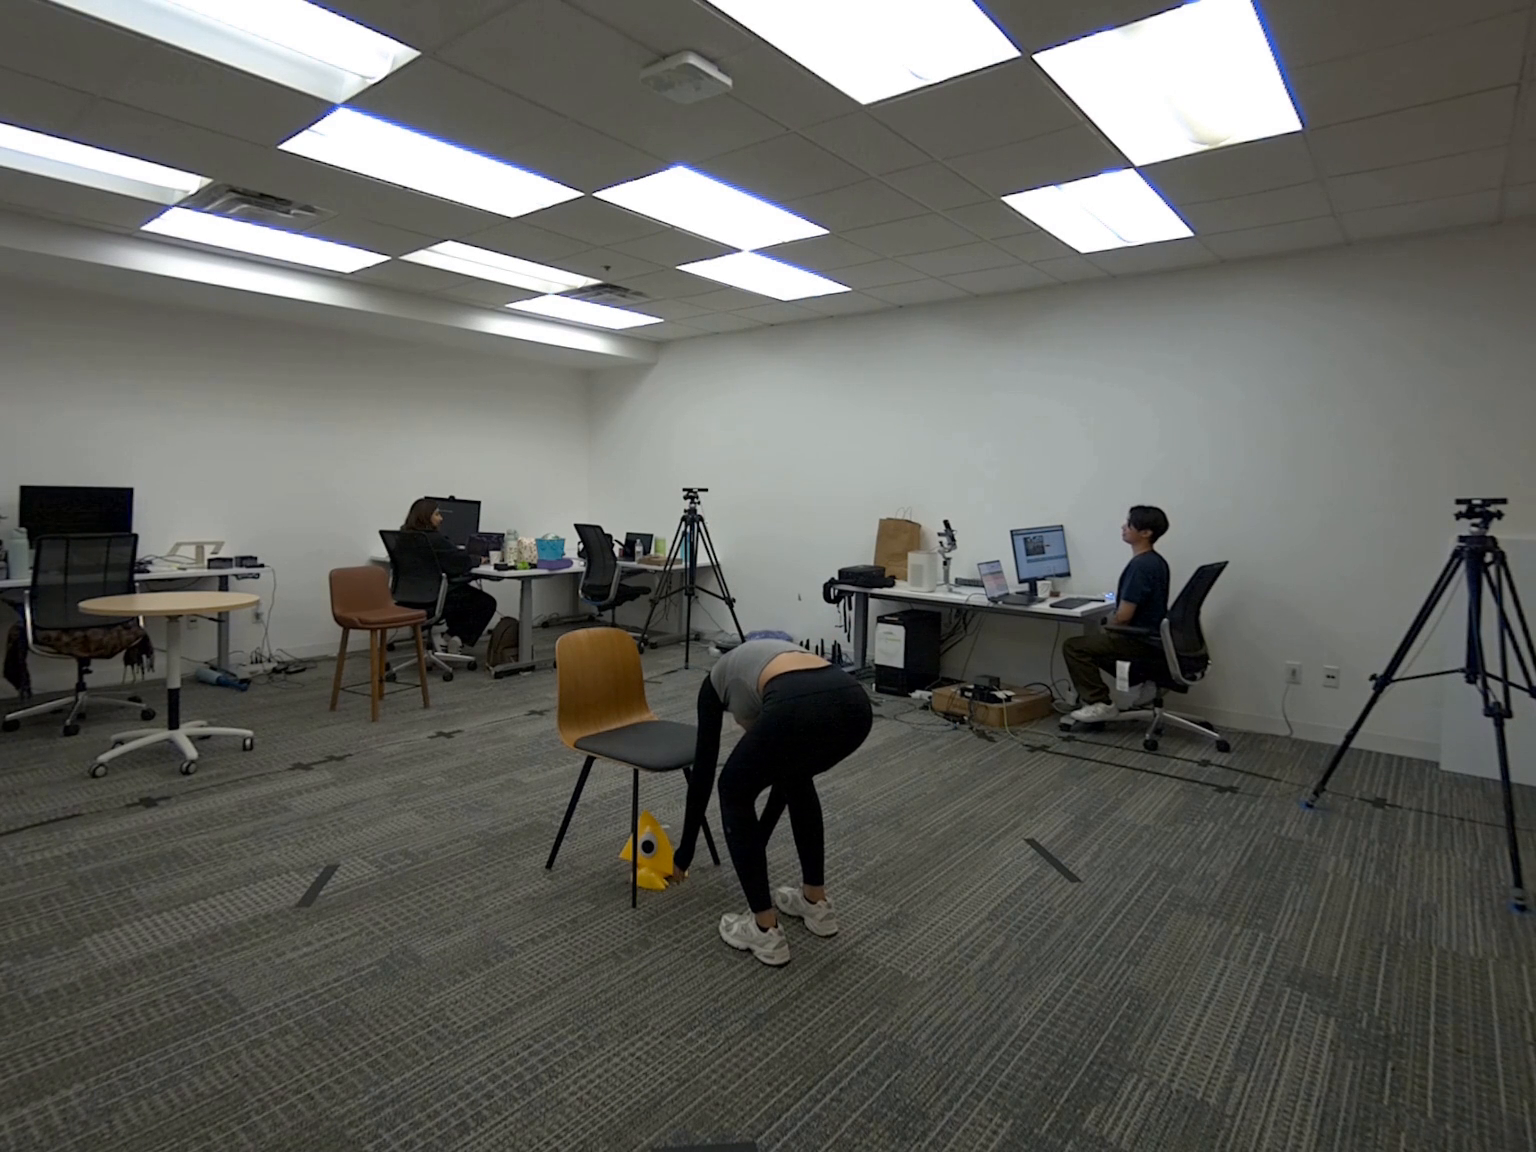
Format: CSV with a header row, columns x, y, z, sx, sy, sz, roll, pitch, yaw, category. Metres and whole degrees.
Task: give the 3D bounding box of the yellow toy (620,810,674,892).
x,y,z,sx,sy,sz,roll,pitch,yaw,category
-0.403,0.963,3.047,0.199,0.230,0.199,2,2,36,yellow toy
